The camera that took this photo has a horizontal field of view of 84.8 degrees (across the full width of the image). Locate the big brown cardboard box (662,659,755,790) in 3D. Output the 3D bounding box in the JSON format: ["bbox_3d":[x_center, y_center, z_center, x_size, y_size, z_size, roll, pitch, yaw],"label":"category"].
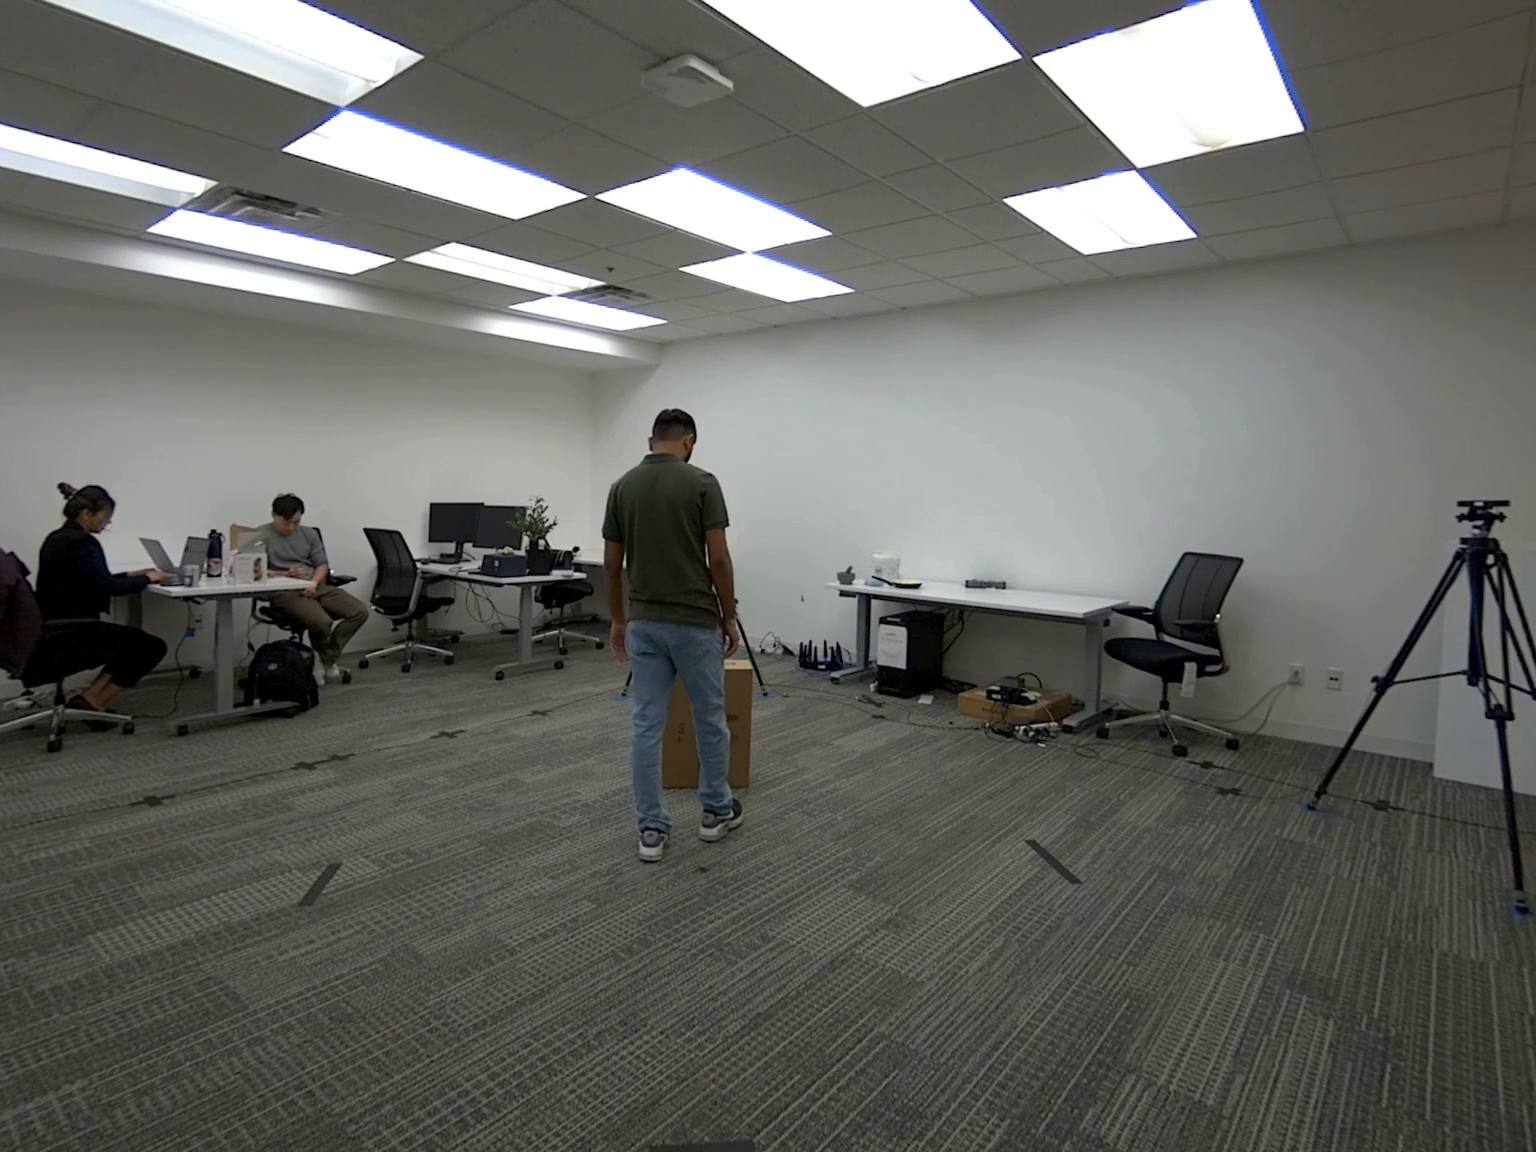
[{"bbox_3d":[-0.305,0.698,4.067,0.416,0.587,0.235,2,4,-4],"label":"big brown cardboard box"}]
